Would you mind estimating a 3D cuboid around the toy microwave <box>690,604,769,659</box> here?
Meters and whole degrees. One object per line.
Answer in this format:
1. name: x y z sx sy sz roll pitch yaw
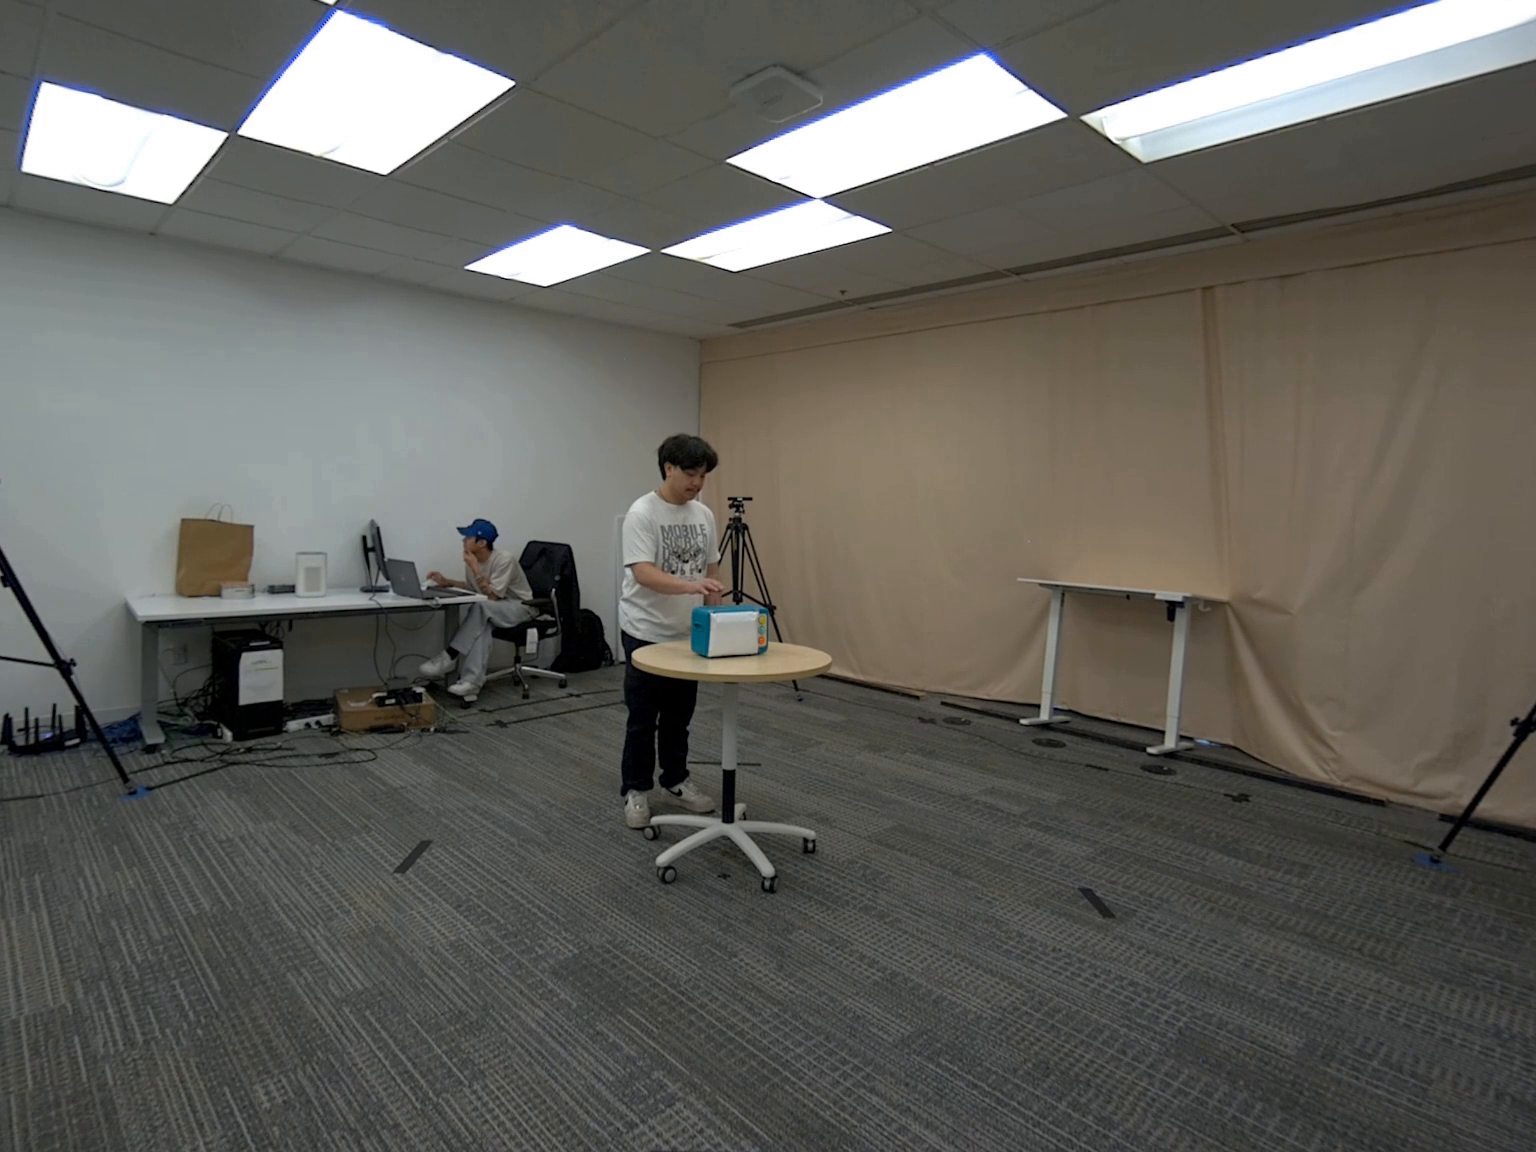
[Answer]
1. toy microwave: -0.147 0.210 3.236 0.280 0.184 0.156 -1 4 -30
